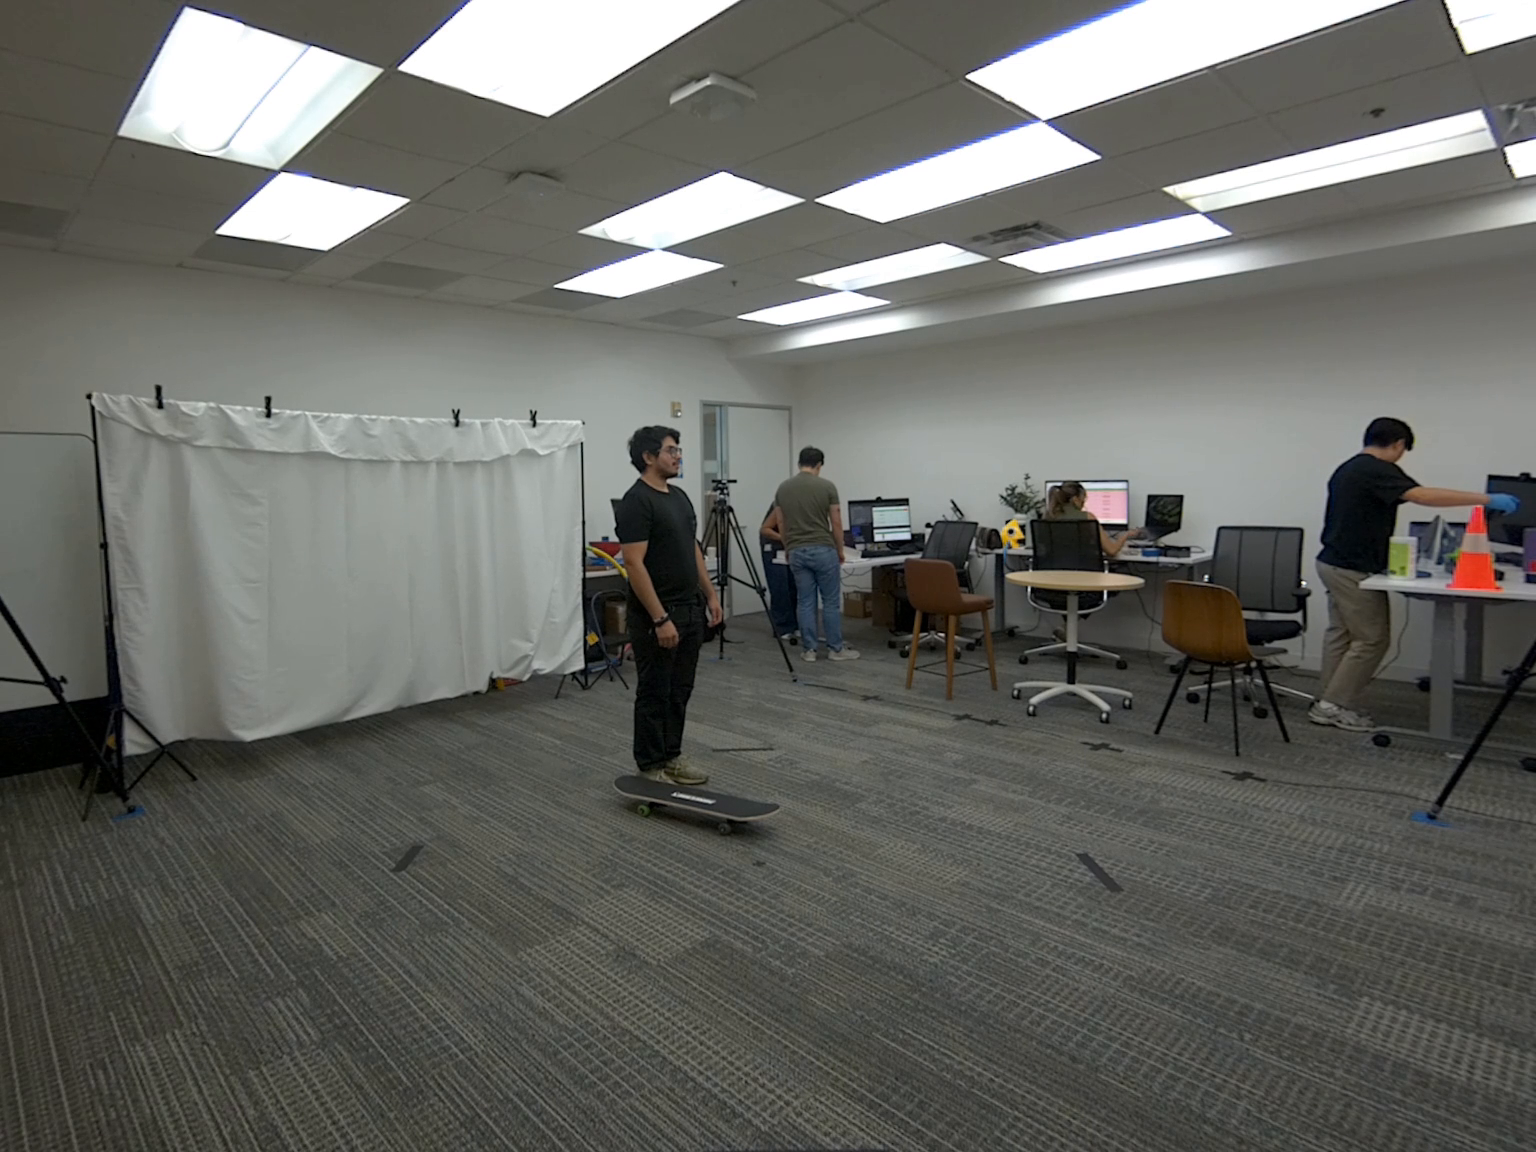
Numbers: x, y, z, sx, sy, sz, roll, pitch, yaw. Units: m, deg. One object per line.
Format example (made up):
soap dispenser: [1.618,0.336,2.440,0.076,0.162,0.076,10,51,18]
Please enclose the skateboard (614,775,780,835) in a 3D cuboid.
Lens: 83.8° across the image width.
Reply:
skateboard: [-0.301,0.948,3.531,0.806,0.110,0.189,2,6,30]
